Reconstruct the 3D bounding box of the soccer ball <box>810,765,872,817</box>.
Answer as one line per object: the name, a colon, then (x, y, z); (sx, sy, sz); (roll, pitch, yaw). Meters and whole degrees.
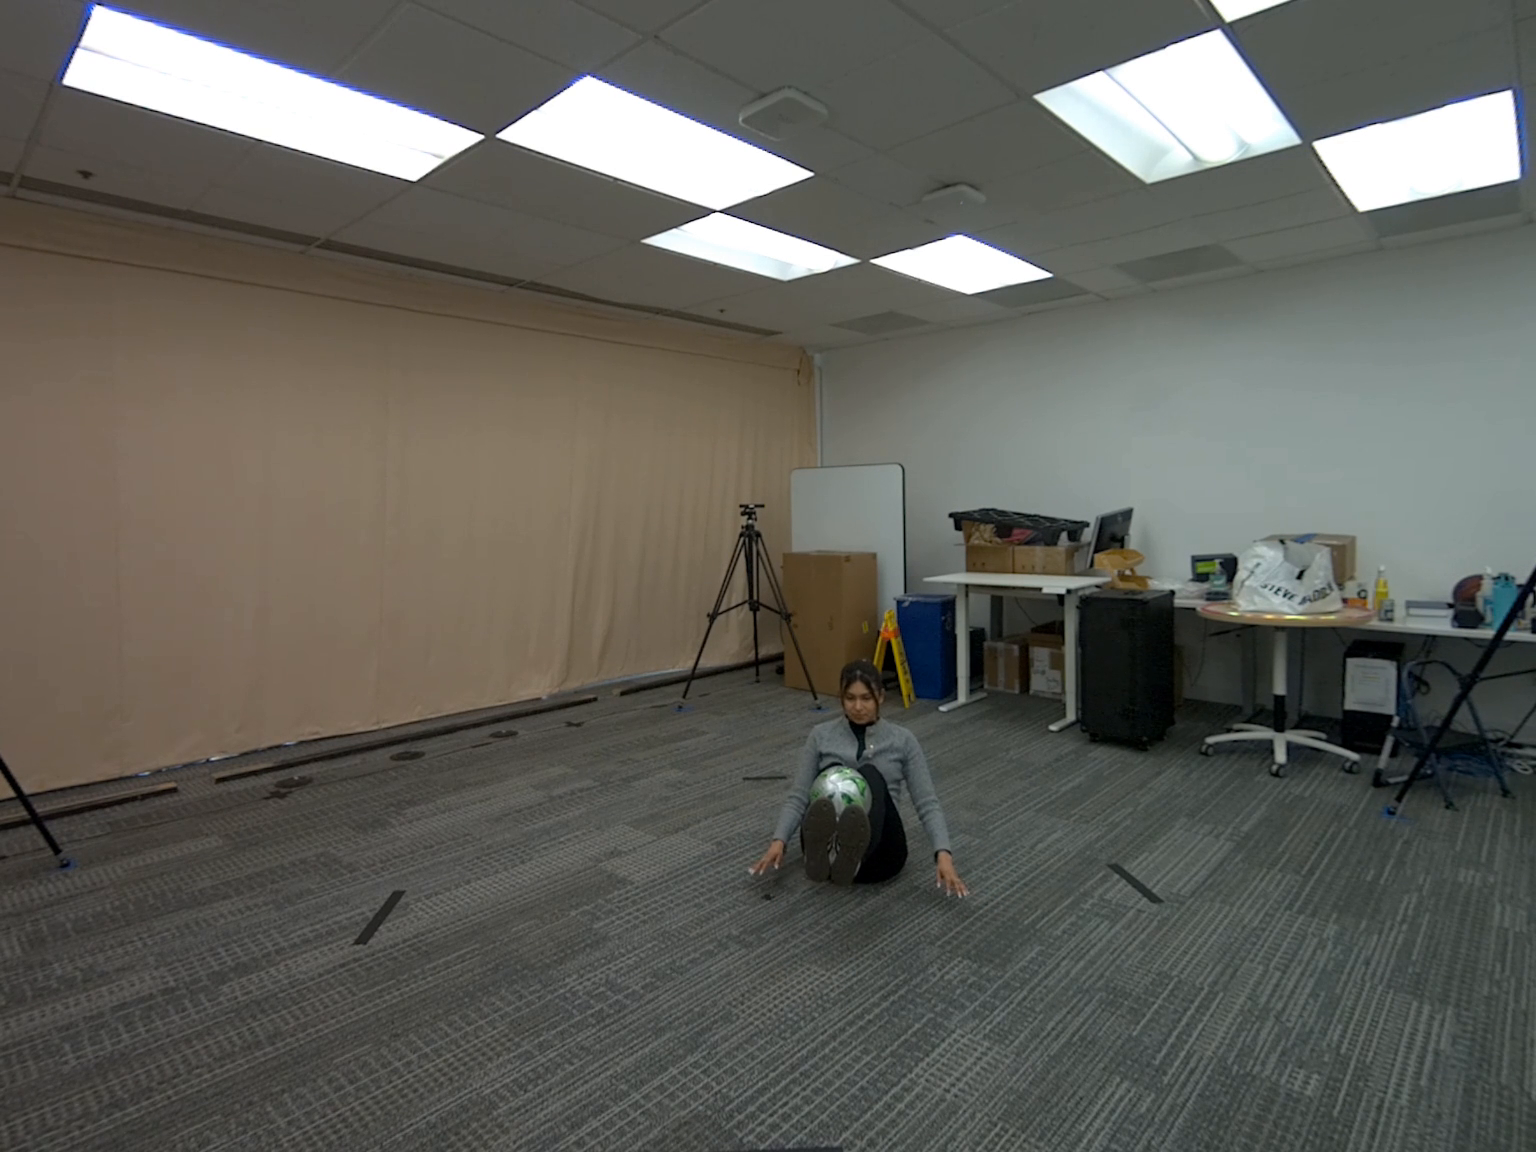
soccer ball: (0.226, 0.692, 2.576); (0.187, 0.187, 0.188); (-1, 4, -2)
